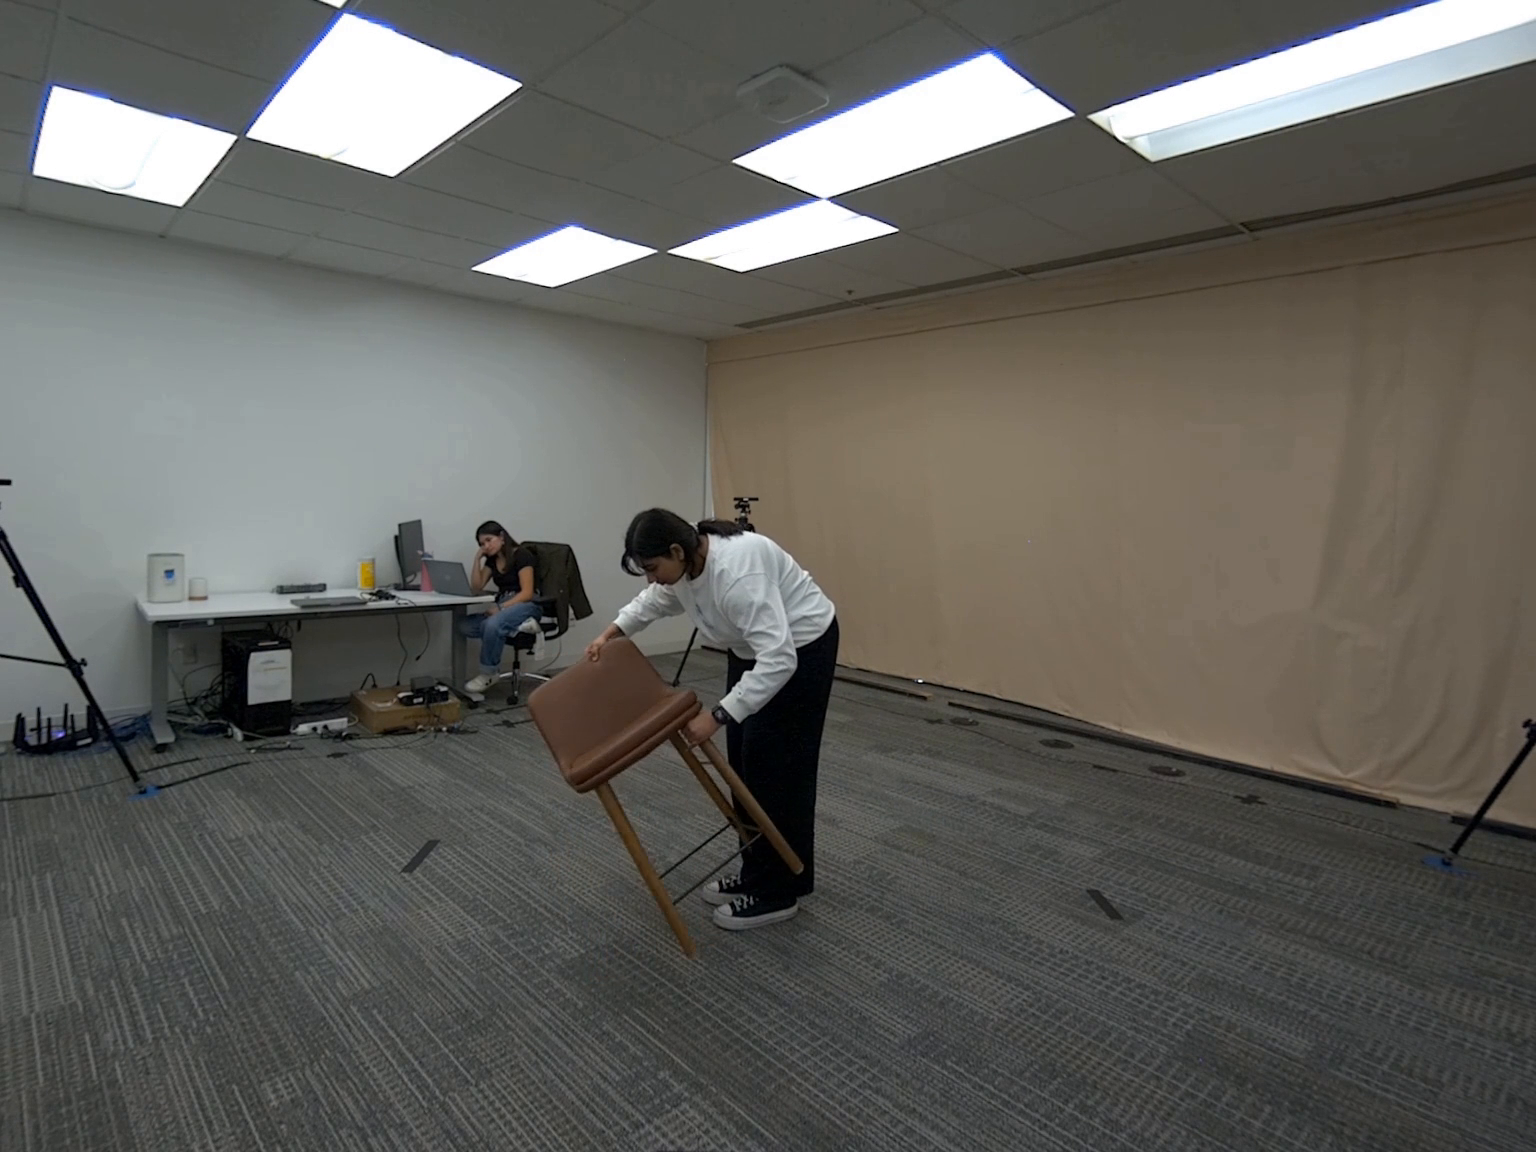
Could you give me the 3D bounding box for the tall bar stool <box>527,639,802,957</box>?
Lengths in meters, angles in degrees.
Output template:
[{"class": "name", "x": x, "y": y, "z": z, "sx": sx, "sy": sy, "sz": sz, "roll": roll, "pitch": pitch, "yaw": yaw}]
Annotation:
[{"class": "tall bar stool", "x": -0.368, "y": 0.634, "z": 2.625, "sx": 0.454, "sy": 0.894, "sz": 0.468, "roll": -31, "pitch": -4, "yaw": -19}]
